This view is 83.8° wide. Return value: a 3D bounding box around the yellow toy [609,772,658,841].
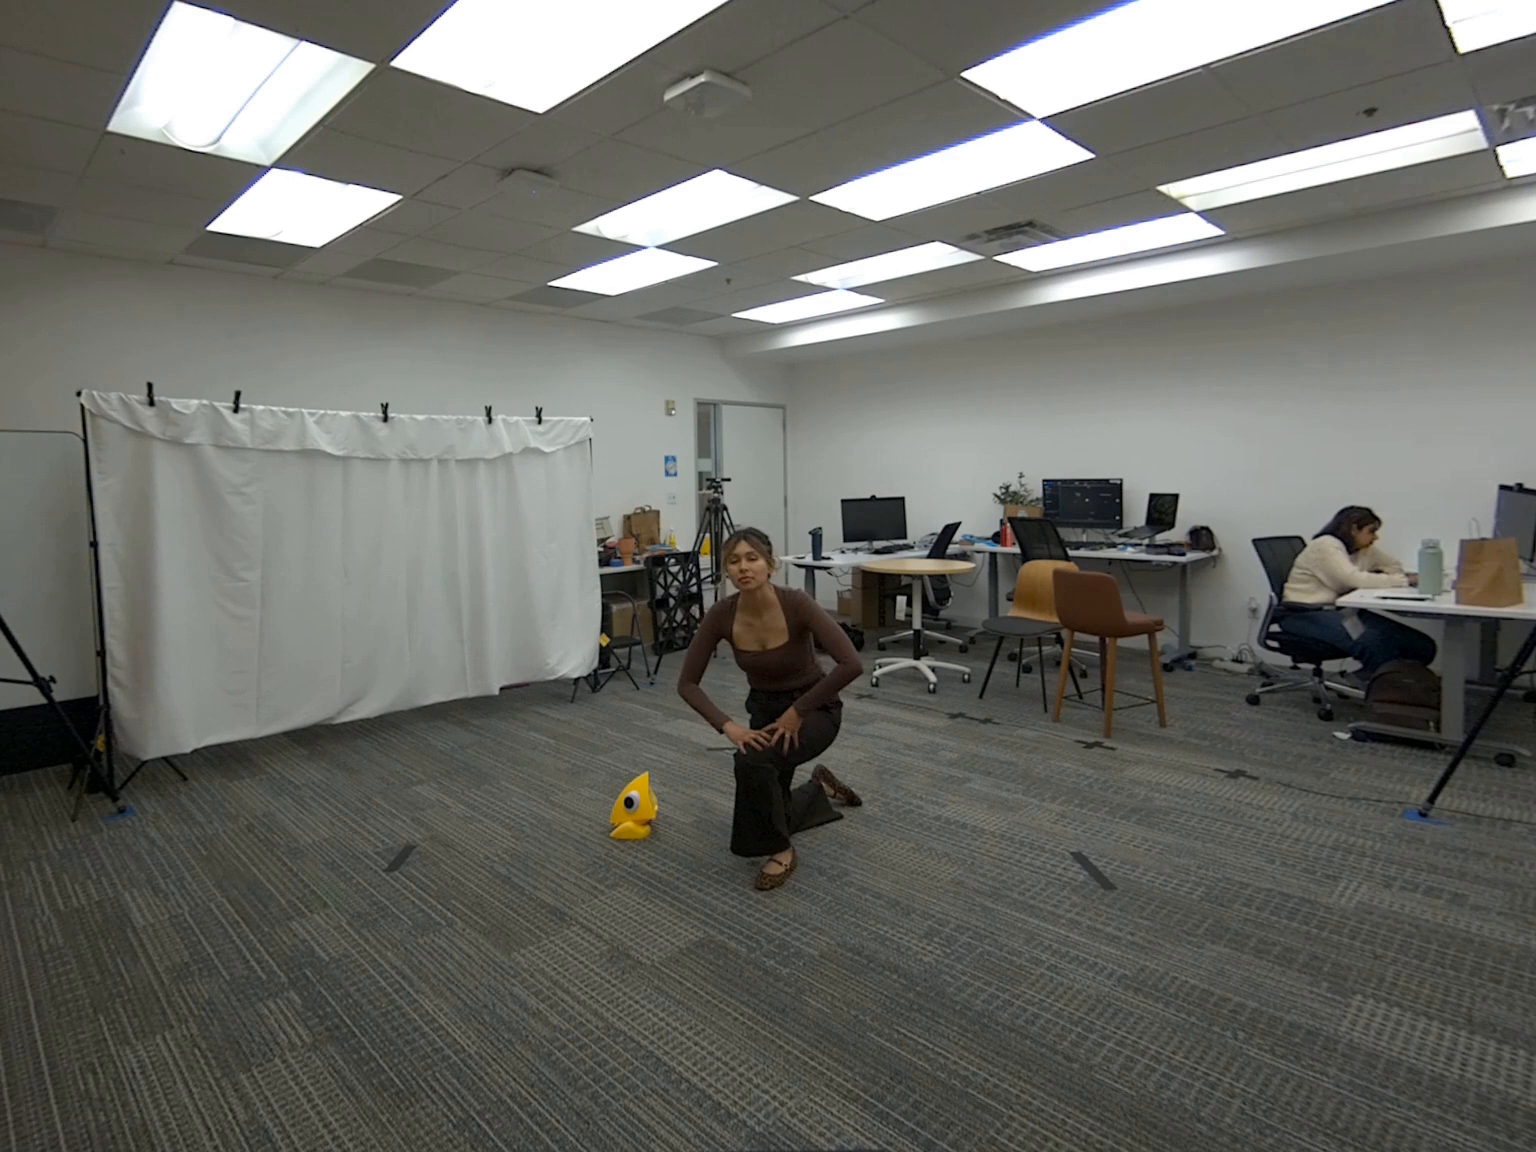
[{"bbox_3d":[-0.537,0.900,3.425,0.192,0.230,0.206,-1,4,-4],"label":"yellow toy"}]
